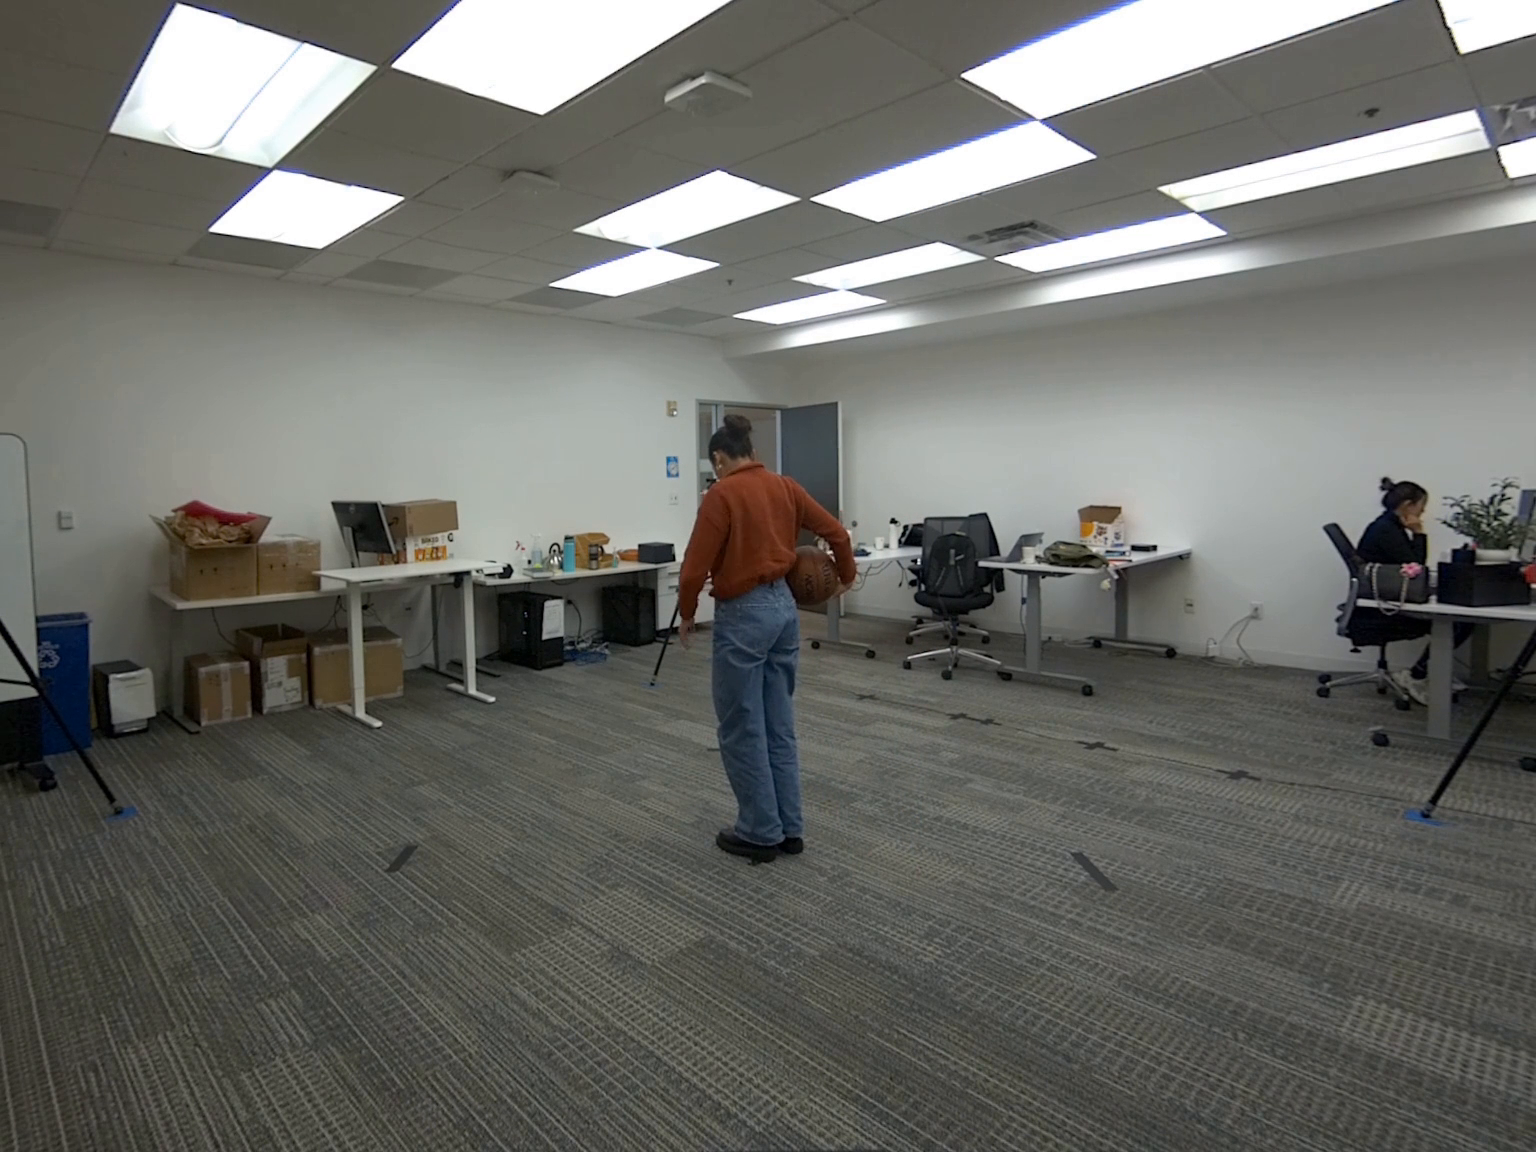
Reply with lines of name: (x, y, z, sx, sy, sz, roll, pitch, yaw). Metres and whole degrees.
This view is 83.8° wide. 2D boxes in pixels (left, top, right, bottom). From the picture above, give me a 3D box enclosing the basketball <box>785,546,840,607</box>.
basketball: (0.152, -0.004, 3.352, 0.236, 0.235, 0.237, -1, 5, -2)
